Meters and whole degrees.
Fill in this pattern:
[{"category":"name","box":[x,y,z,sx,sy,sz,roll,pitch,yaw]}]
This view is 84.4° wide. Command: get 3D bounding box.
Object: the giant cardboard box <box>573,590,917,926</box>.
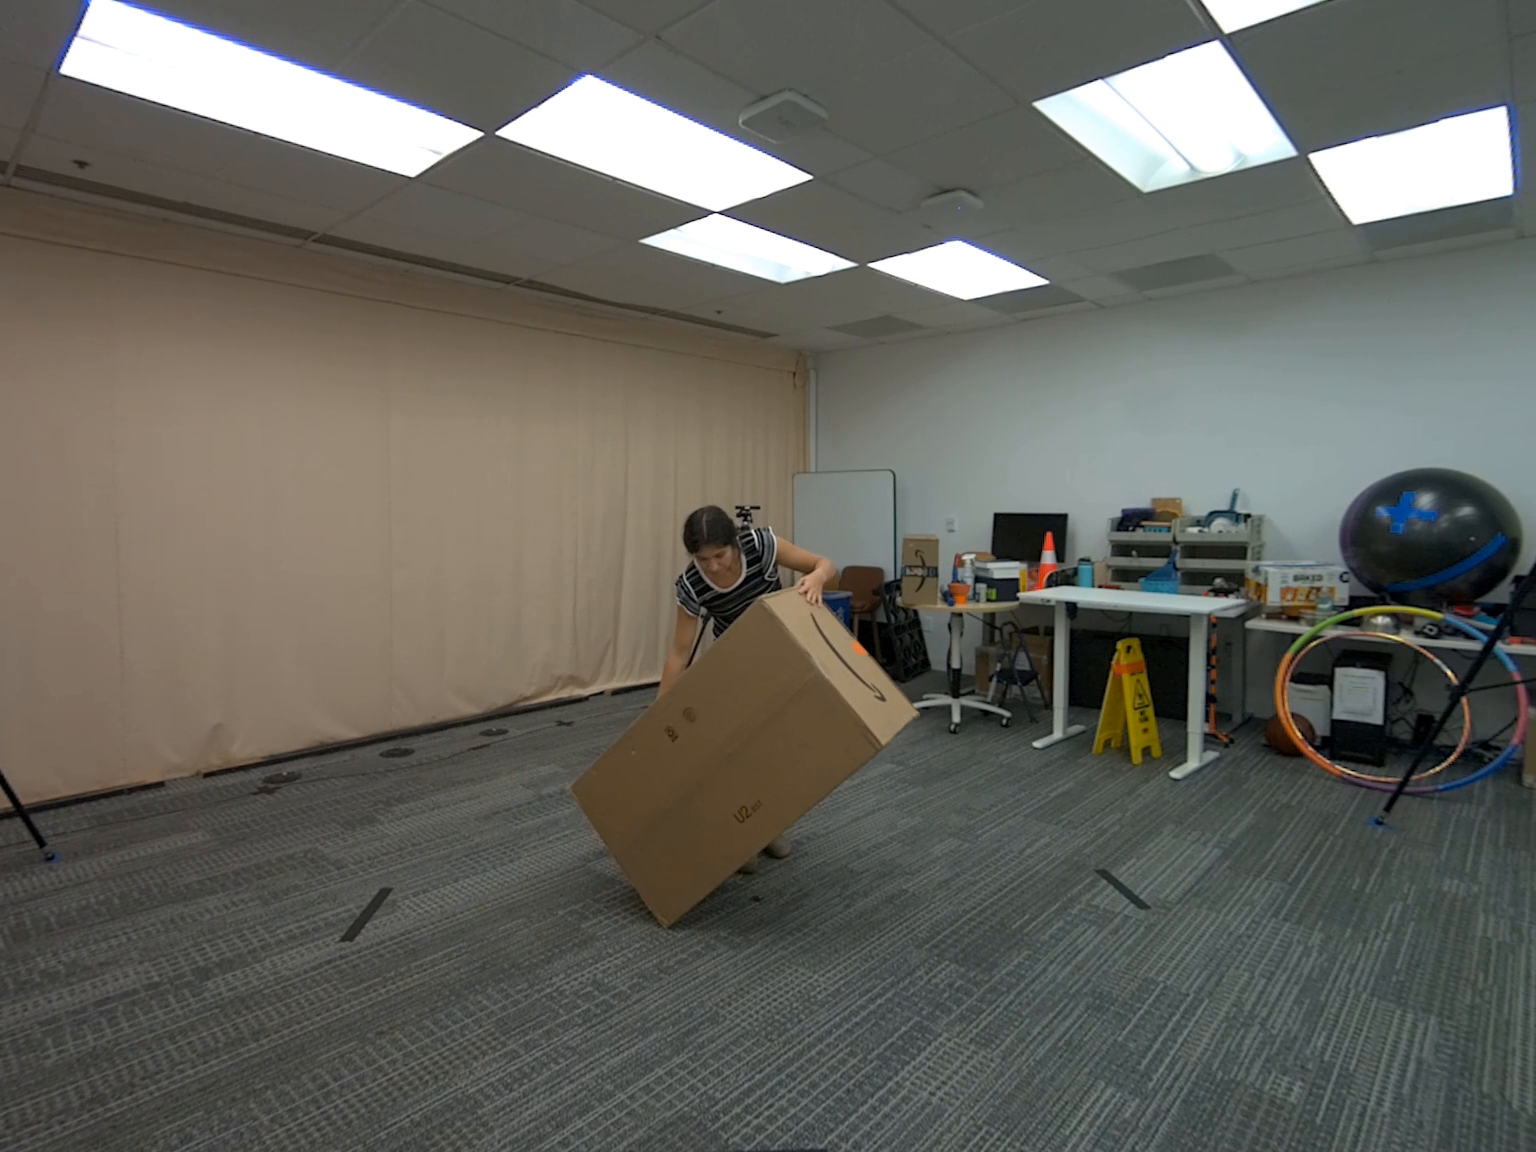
[{"category":"giant cardboard box","box":[-0.091,0.601,2.851,1.032,0.588,0.416,-45,-16,21]}]
